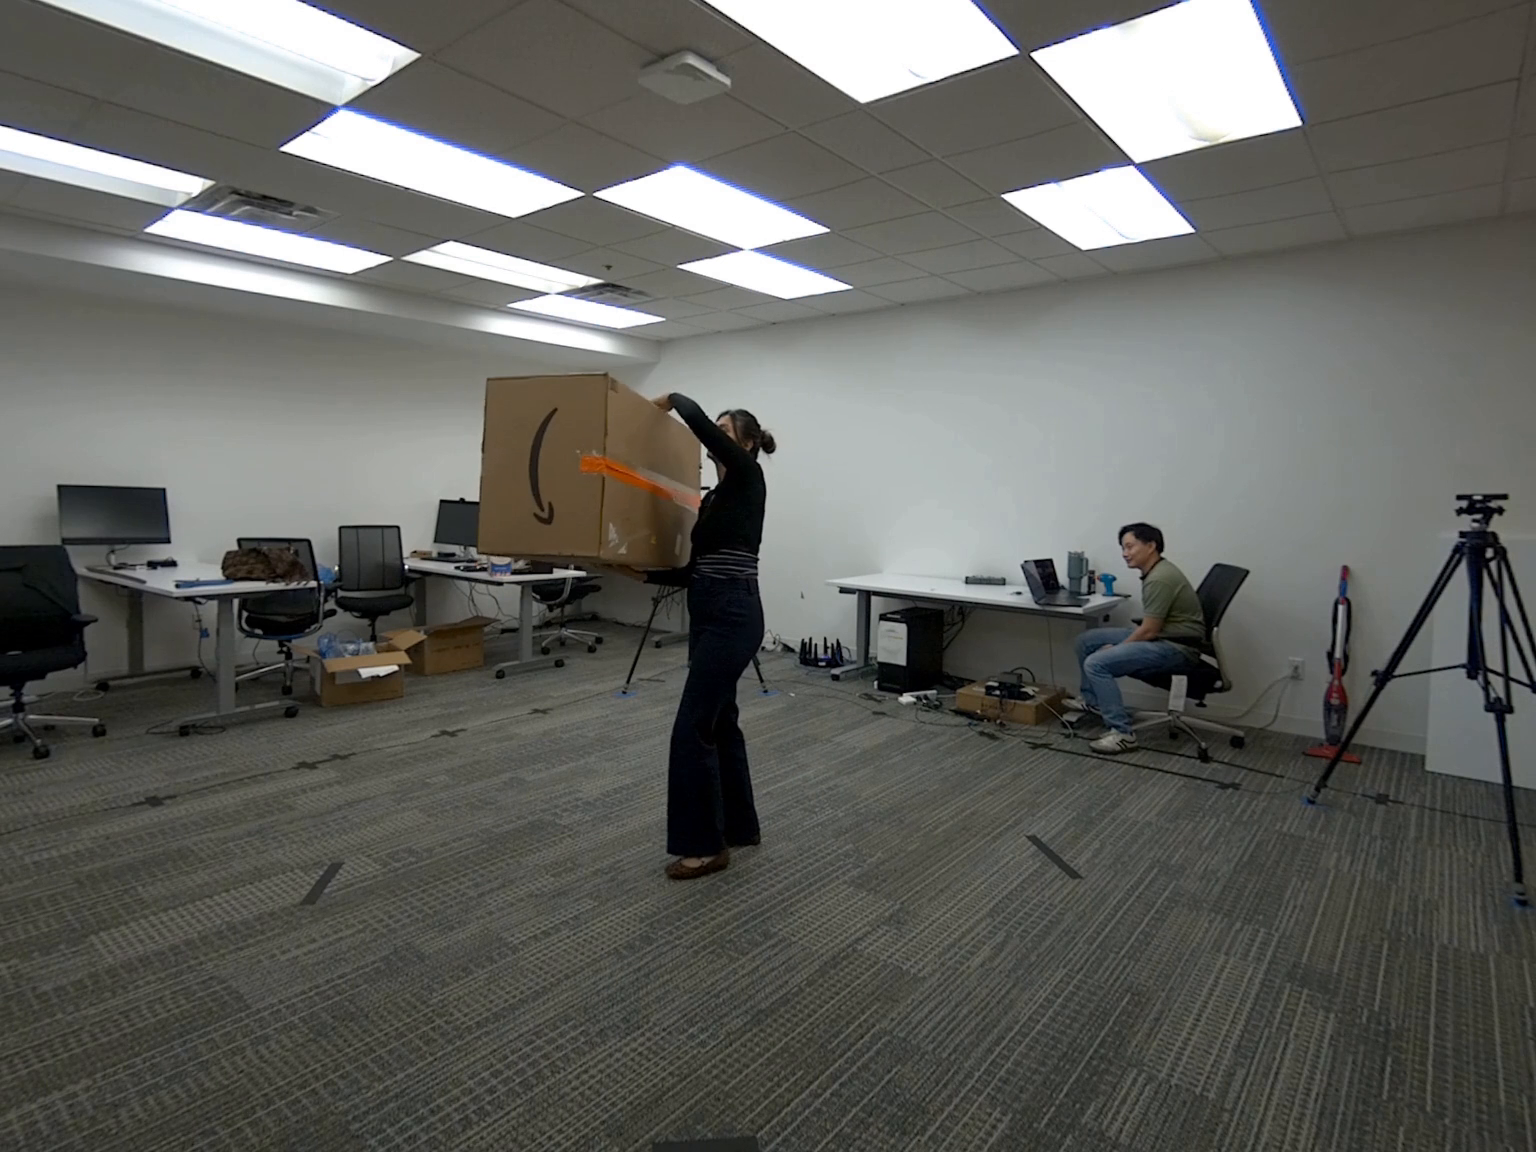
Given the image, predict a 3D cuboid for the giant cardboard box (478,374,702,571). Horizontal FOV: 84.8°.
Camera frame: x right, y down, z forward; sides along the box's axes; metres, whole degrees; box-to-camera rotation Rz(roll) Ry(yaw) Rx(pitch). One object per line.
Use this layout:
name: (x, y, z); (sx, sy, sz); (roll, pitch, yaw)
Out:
giant cardboard box: (-0.609, -0.329, 3.133); (0.433, 0.579, 1.007); (2, -2, 13)
